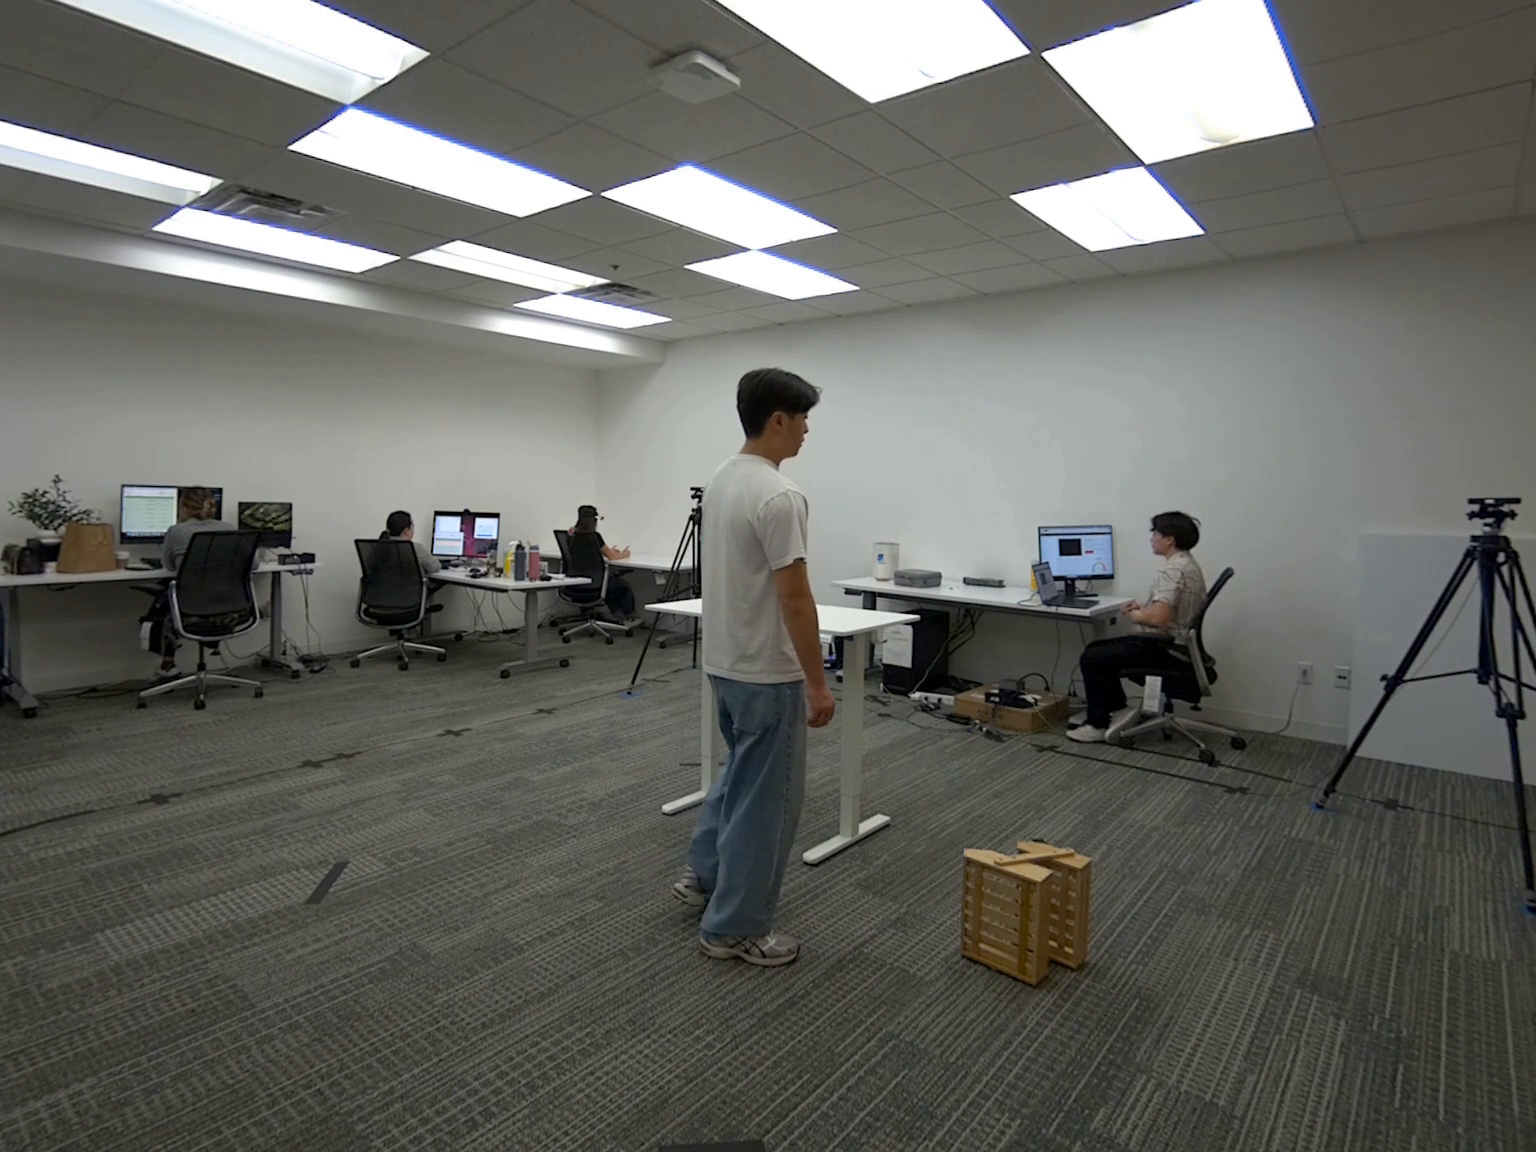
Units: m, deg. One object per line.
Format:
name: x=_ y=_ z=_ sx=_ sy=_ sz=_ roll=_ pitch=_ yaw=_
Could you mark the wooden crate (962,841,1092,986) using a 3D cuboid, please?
wooden crate: x=0.763 y=0.984 z=2.543 sx=0.312 sy=0.323 sz=0.265 roll=6 pitch=7 yaw=40
